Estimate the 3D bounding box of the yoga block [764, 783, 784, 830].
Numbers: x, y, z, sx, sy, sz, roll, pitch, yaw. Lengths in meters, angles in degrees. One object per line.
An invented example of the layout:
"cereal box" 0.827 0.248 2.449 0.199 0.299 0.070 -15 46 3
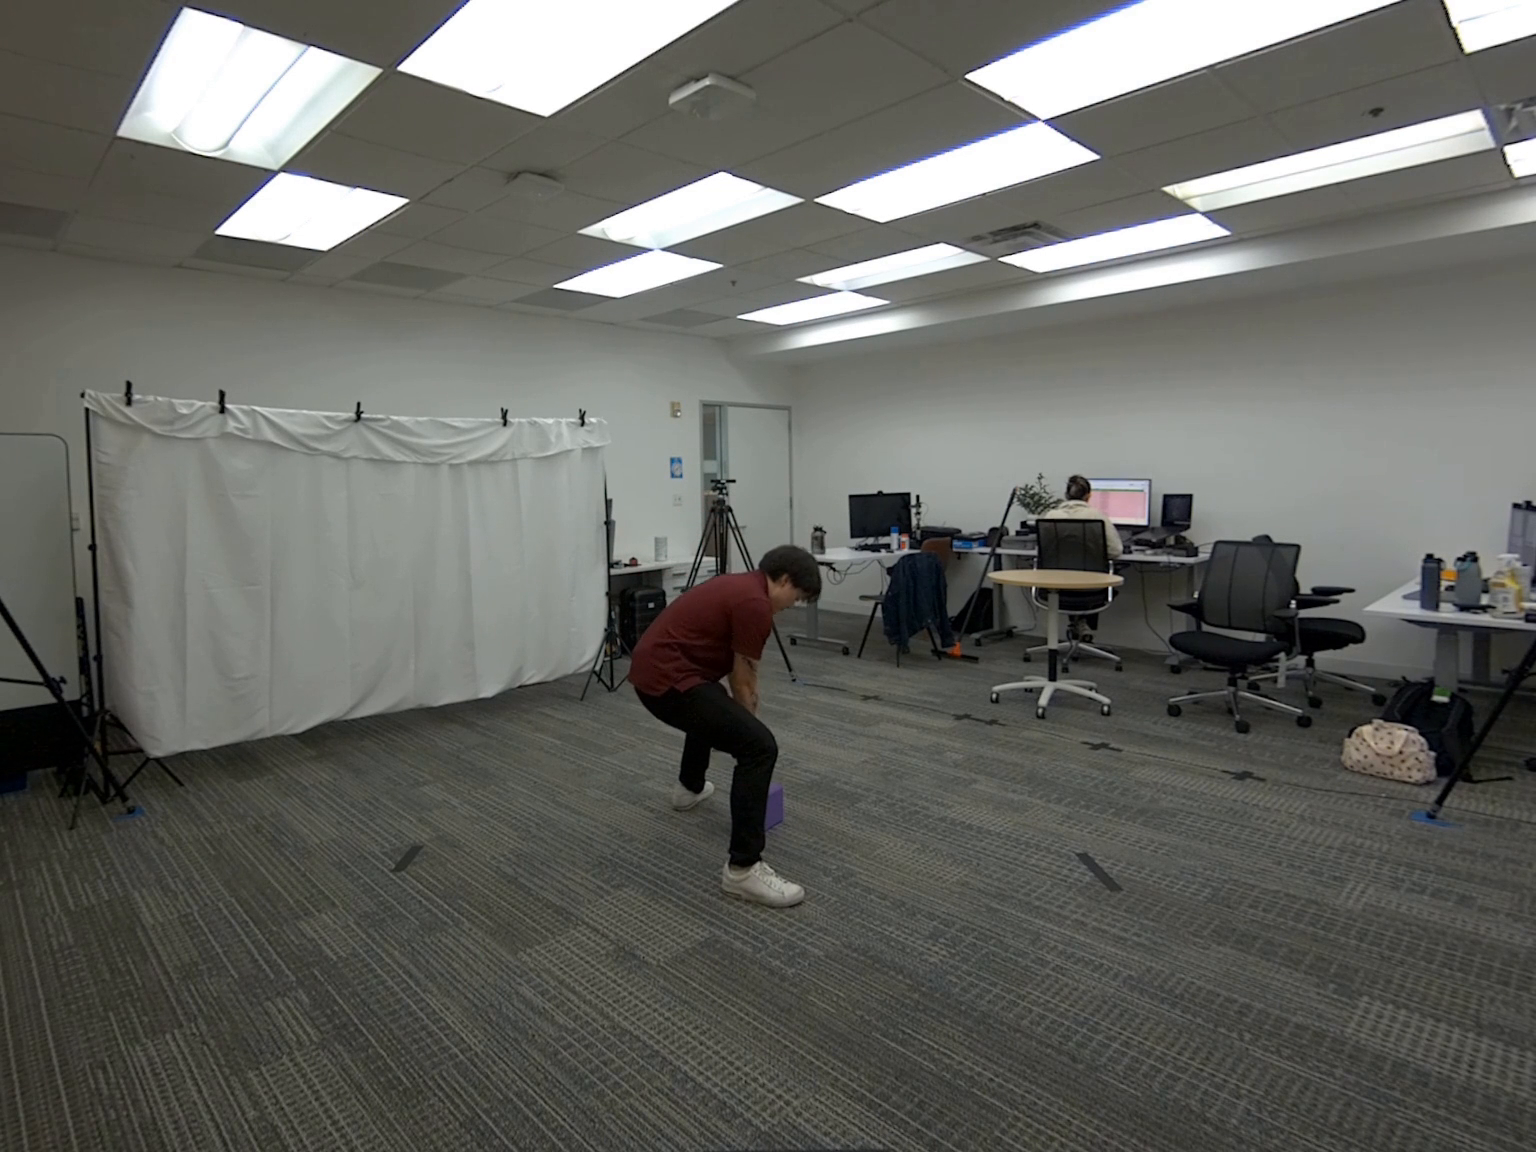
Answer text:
"yoga block" -0.023 0.934 3.430 0.078 0.148 0.224 1 5 35
